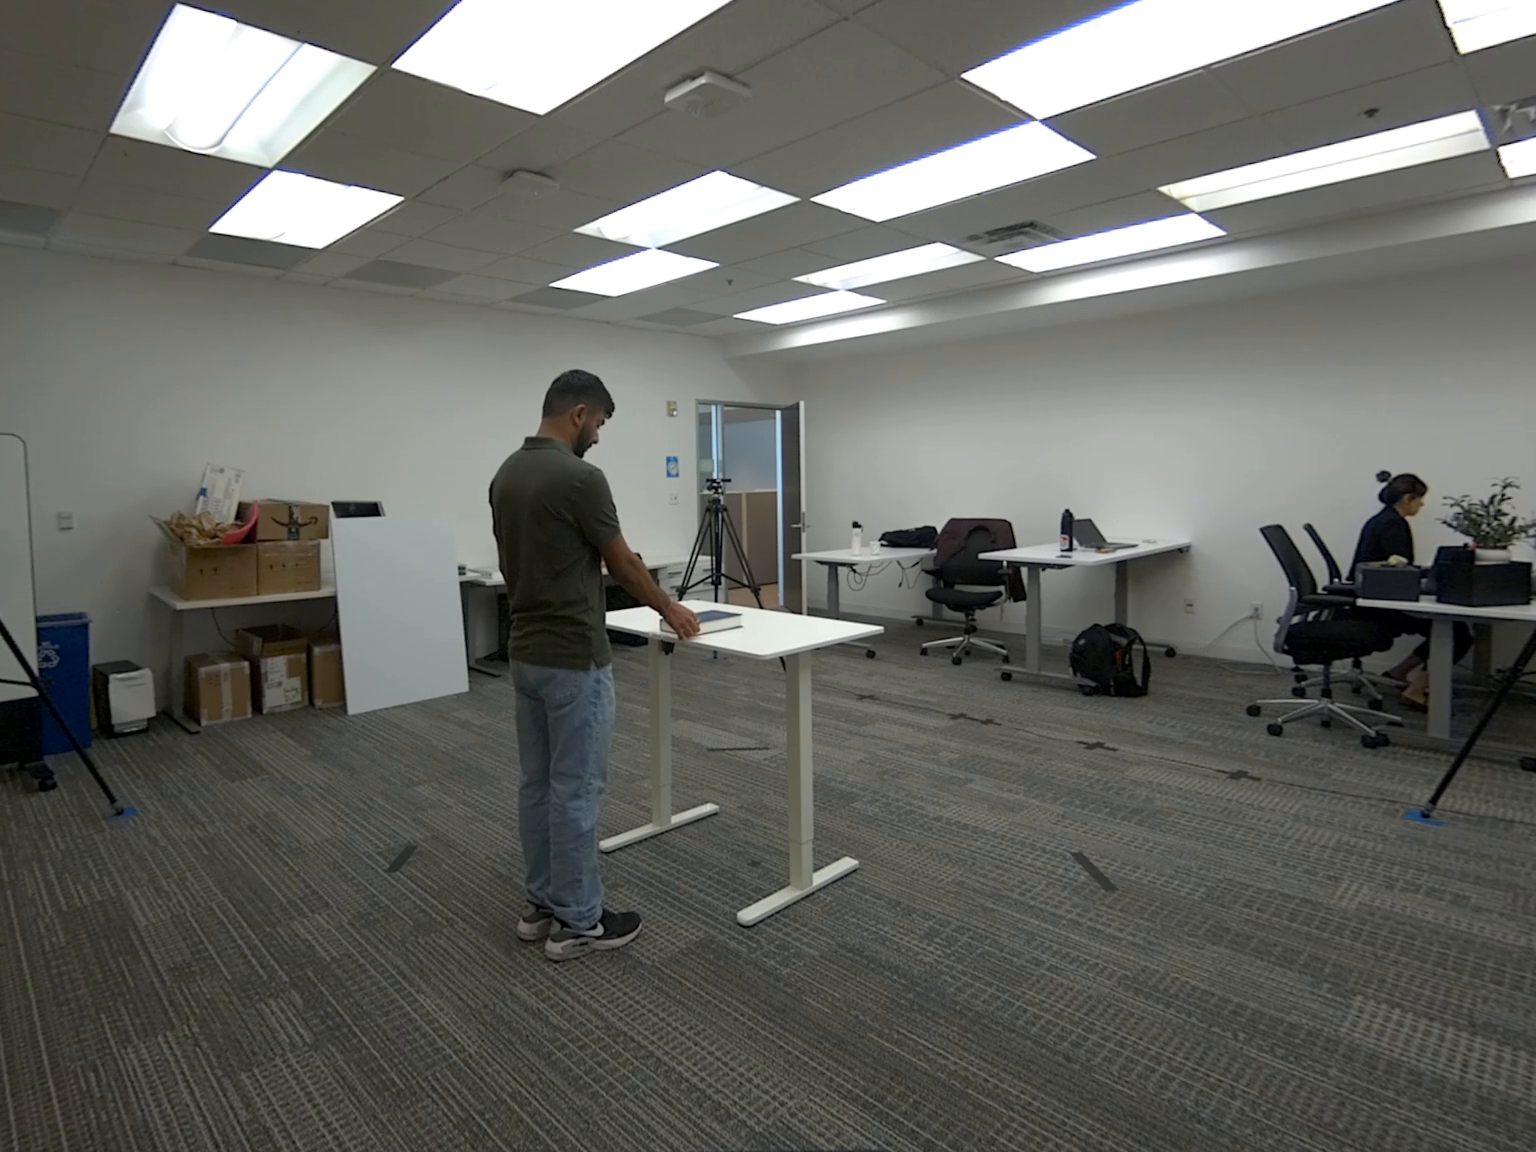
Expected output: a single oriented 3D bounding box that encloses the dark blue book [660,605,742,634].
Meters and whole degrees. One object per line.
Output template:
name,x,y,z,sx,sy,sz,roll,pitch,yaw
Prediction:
dark blue book,-0.233,0.165,2.953,0.239,0.045,0.168,-8,9,-43
